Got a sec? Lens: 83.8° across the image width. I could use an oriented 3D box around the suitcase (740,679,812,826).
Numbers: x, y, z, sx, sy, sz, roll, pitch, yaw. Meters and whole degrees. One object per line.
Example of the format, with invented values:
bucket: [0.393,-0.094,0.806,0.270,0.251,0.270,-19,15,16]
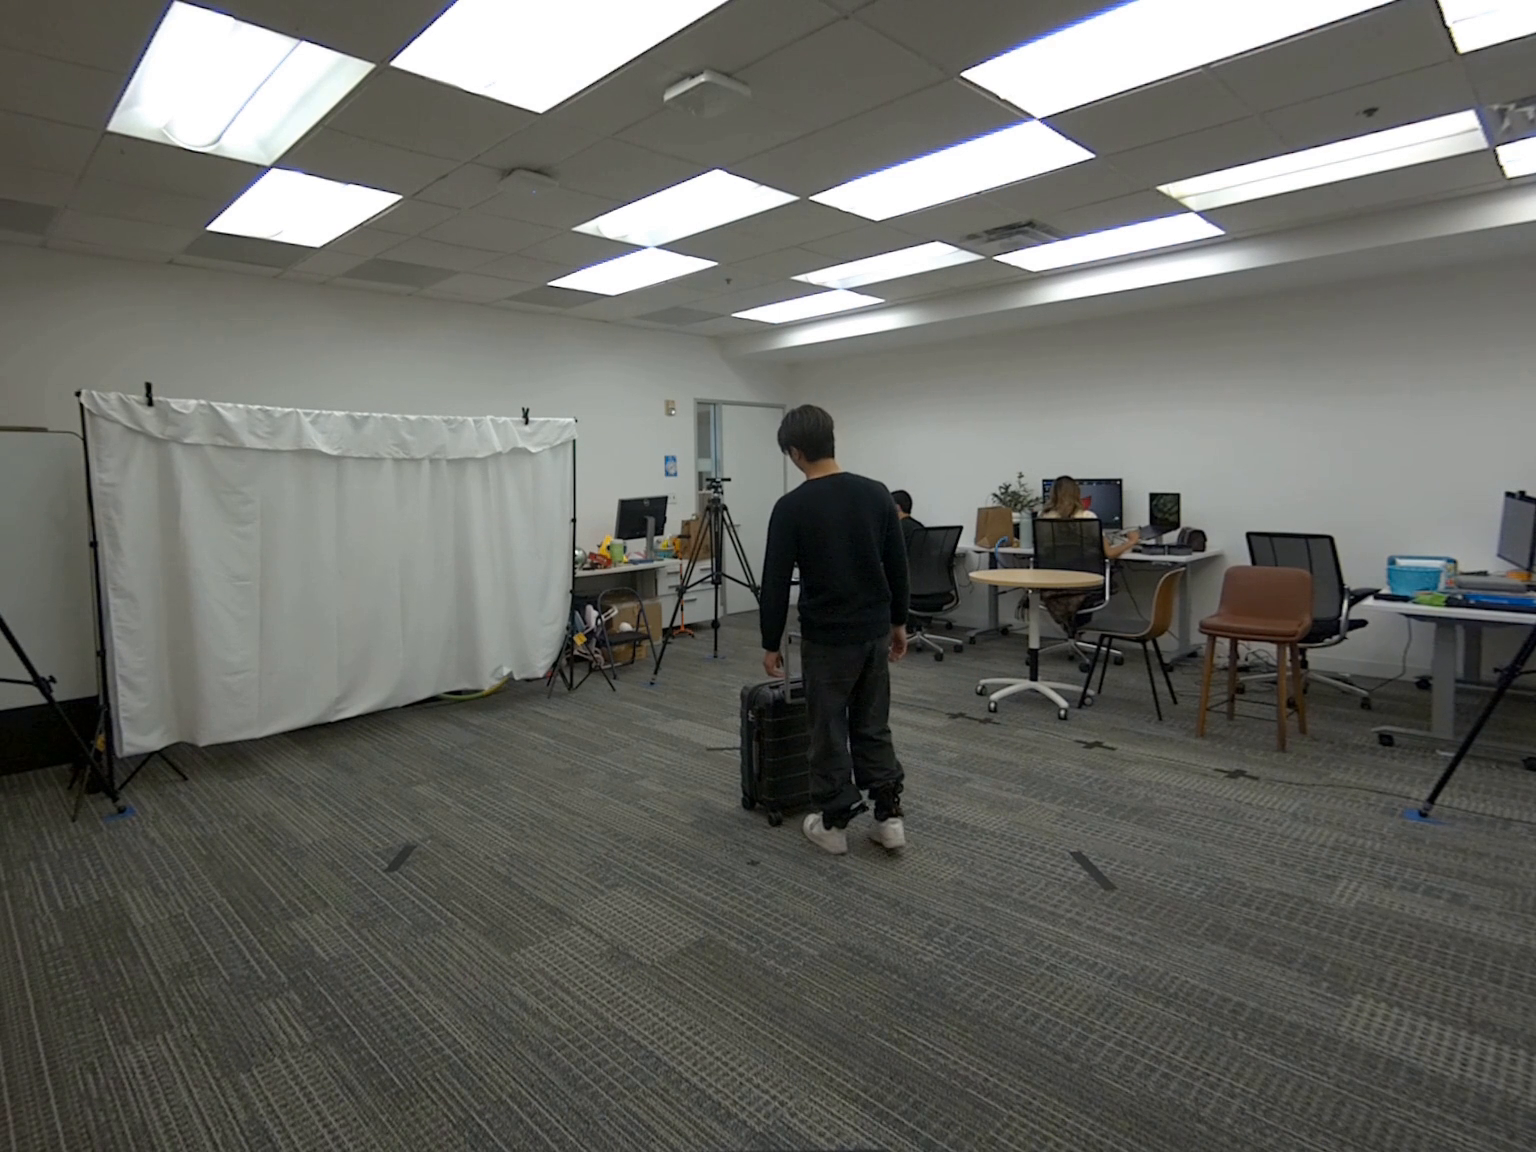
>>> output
suitcase: [0.067,0.508,3.605,0.375,0.978,0.263,-3,1,-27]
